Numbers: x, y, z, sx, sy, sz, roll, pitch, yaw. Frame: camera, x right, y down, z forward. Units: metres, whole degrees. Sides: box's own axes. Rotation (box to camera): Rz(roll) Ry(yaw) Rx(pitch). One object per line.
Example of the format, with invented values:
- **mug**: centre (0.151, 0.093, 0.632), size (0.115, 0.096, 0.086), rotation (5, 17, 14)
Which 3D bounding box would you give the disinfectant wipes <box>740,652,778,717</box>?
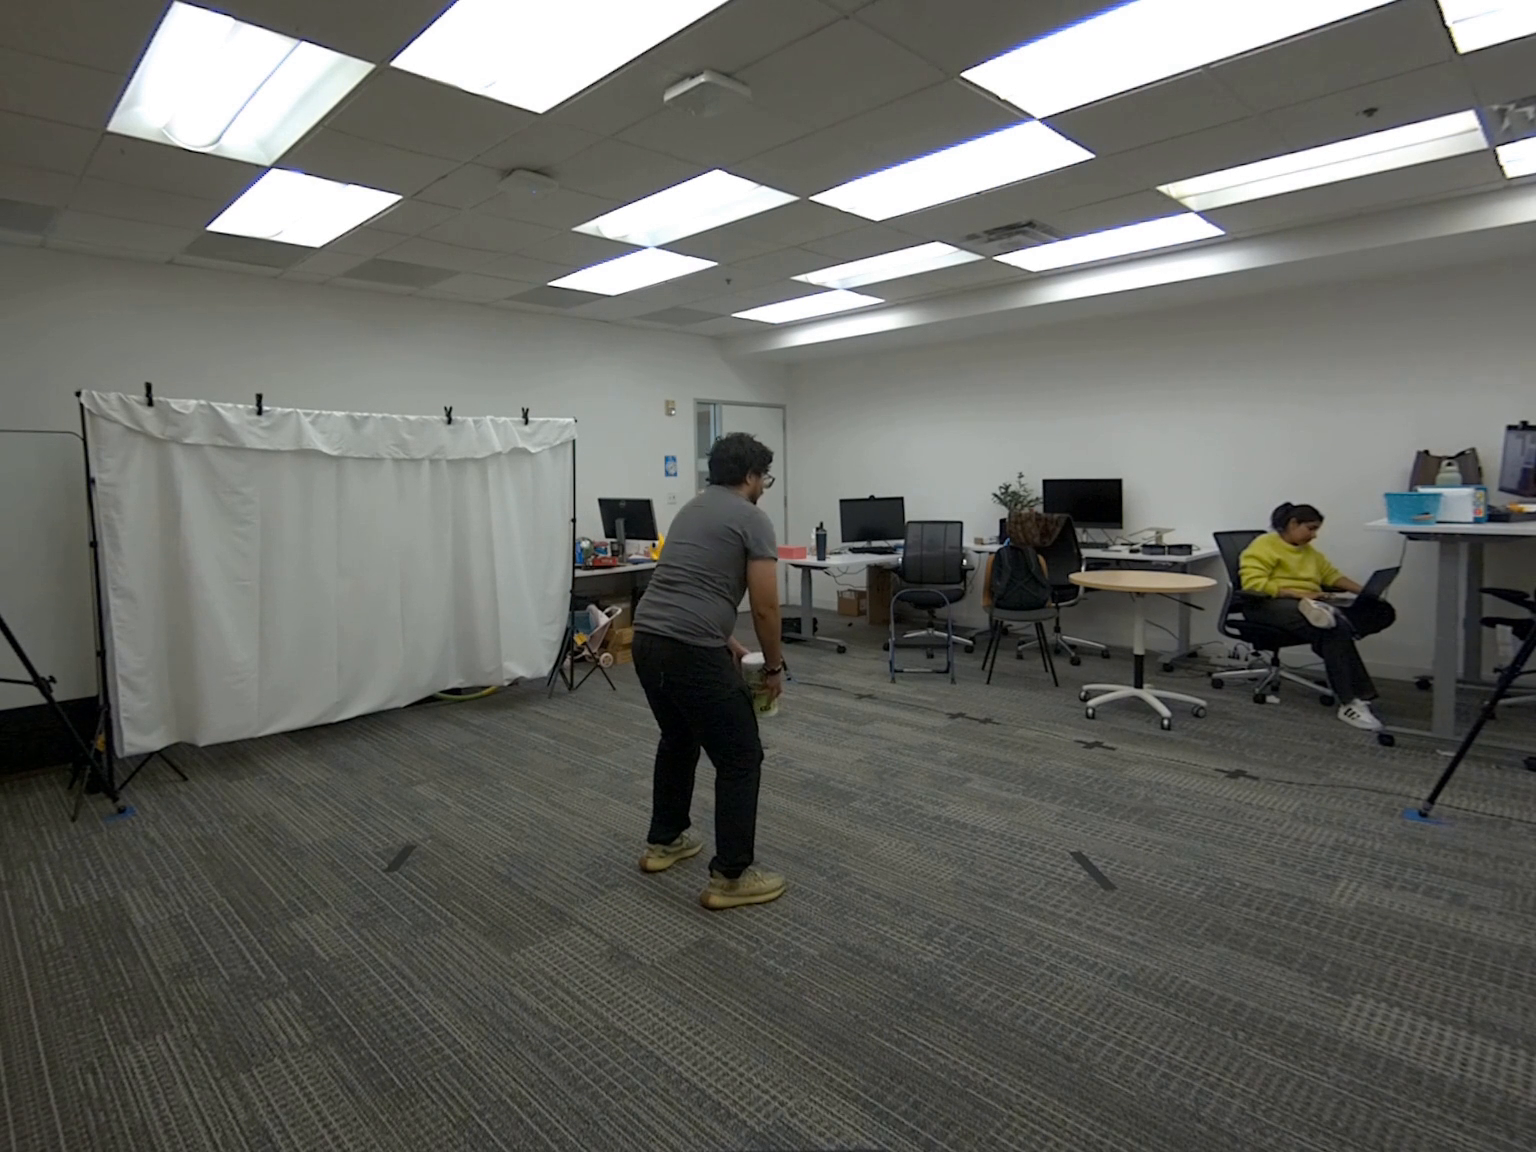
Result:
- **disinfectant wipes**: centre (-0.035, 0.394, 3.066), size (0.118, 0.215, 0.119), rotation (-6, 12, 0)
